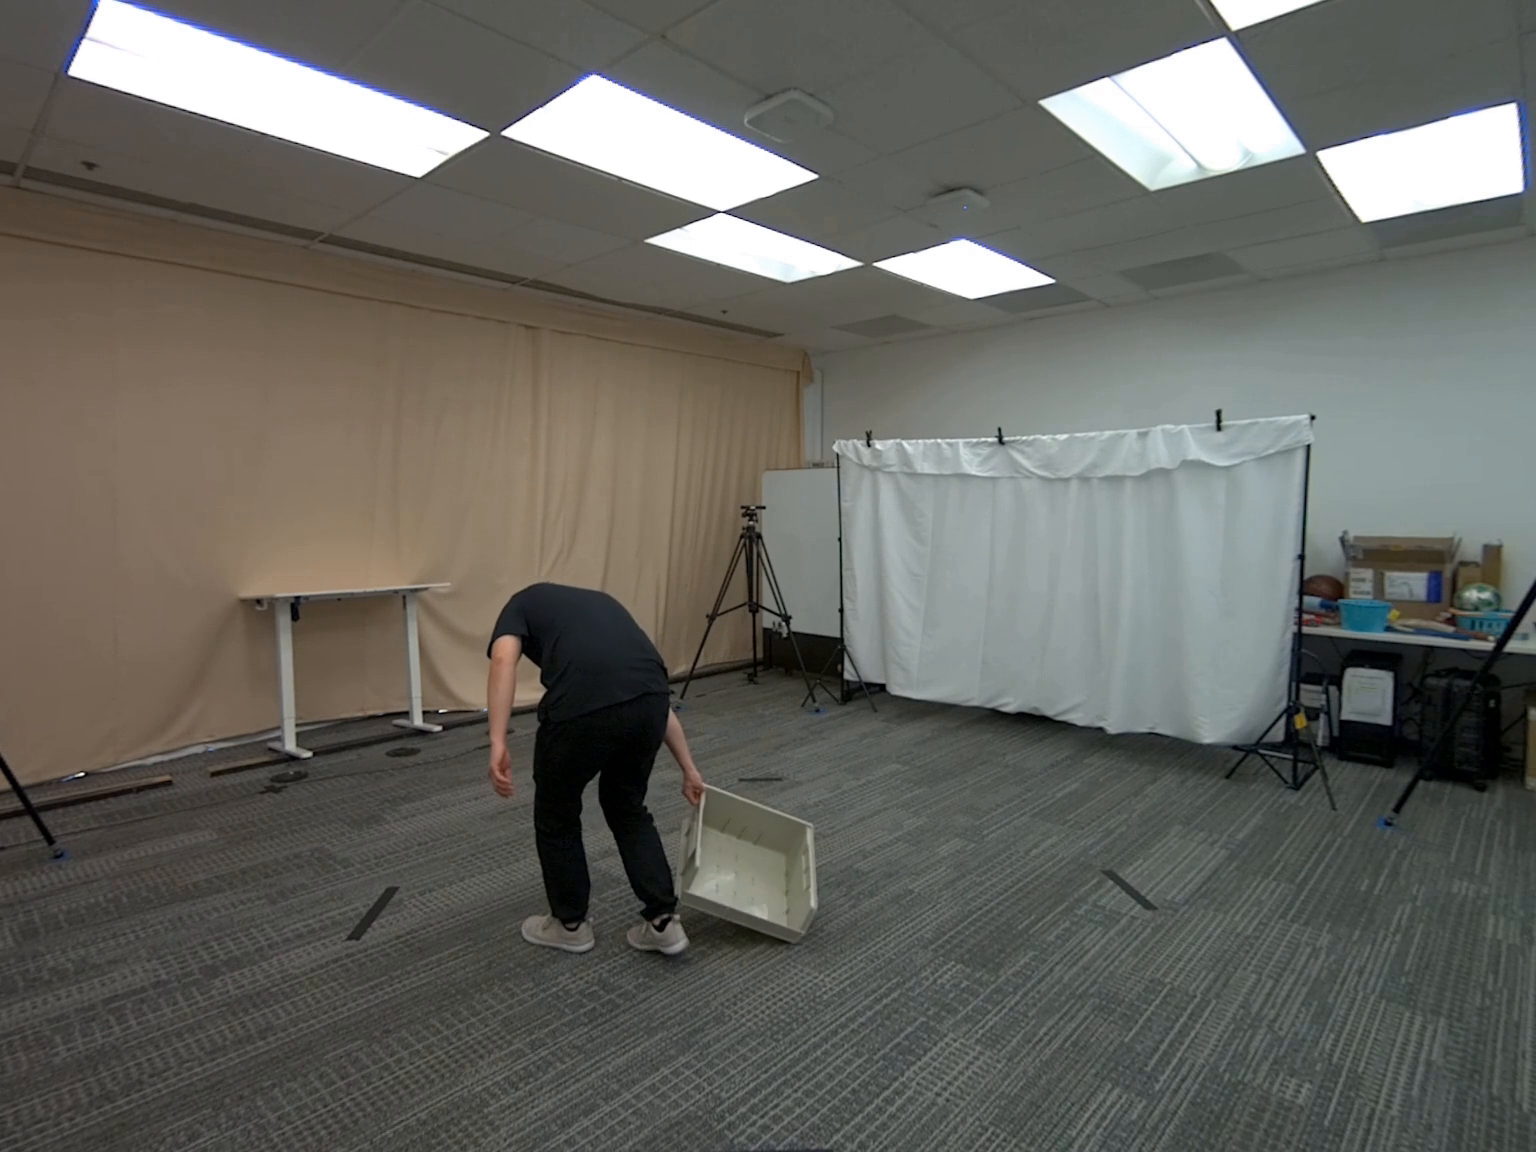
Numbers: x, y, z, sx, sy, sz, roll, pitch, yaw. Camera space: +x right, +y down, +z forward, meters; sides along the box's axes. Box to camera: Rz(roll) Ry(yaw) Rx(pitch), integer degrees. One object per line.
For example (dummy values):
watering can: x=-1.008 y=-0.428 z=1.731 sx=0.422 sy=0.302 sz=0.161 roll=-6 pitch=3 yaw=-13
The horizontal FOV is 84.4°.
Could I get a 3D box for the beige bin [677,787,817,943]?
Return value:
beige bin: x=-0.064 y=0.953 z=2.767 sx=0.418 sy=0.188 sz=0.382 roll=22 pitch=27 yaw=-10
